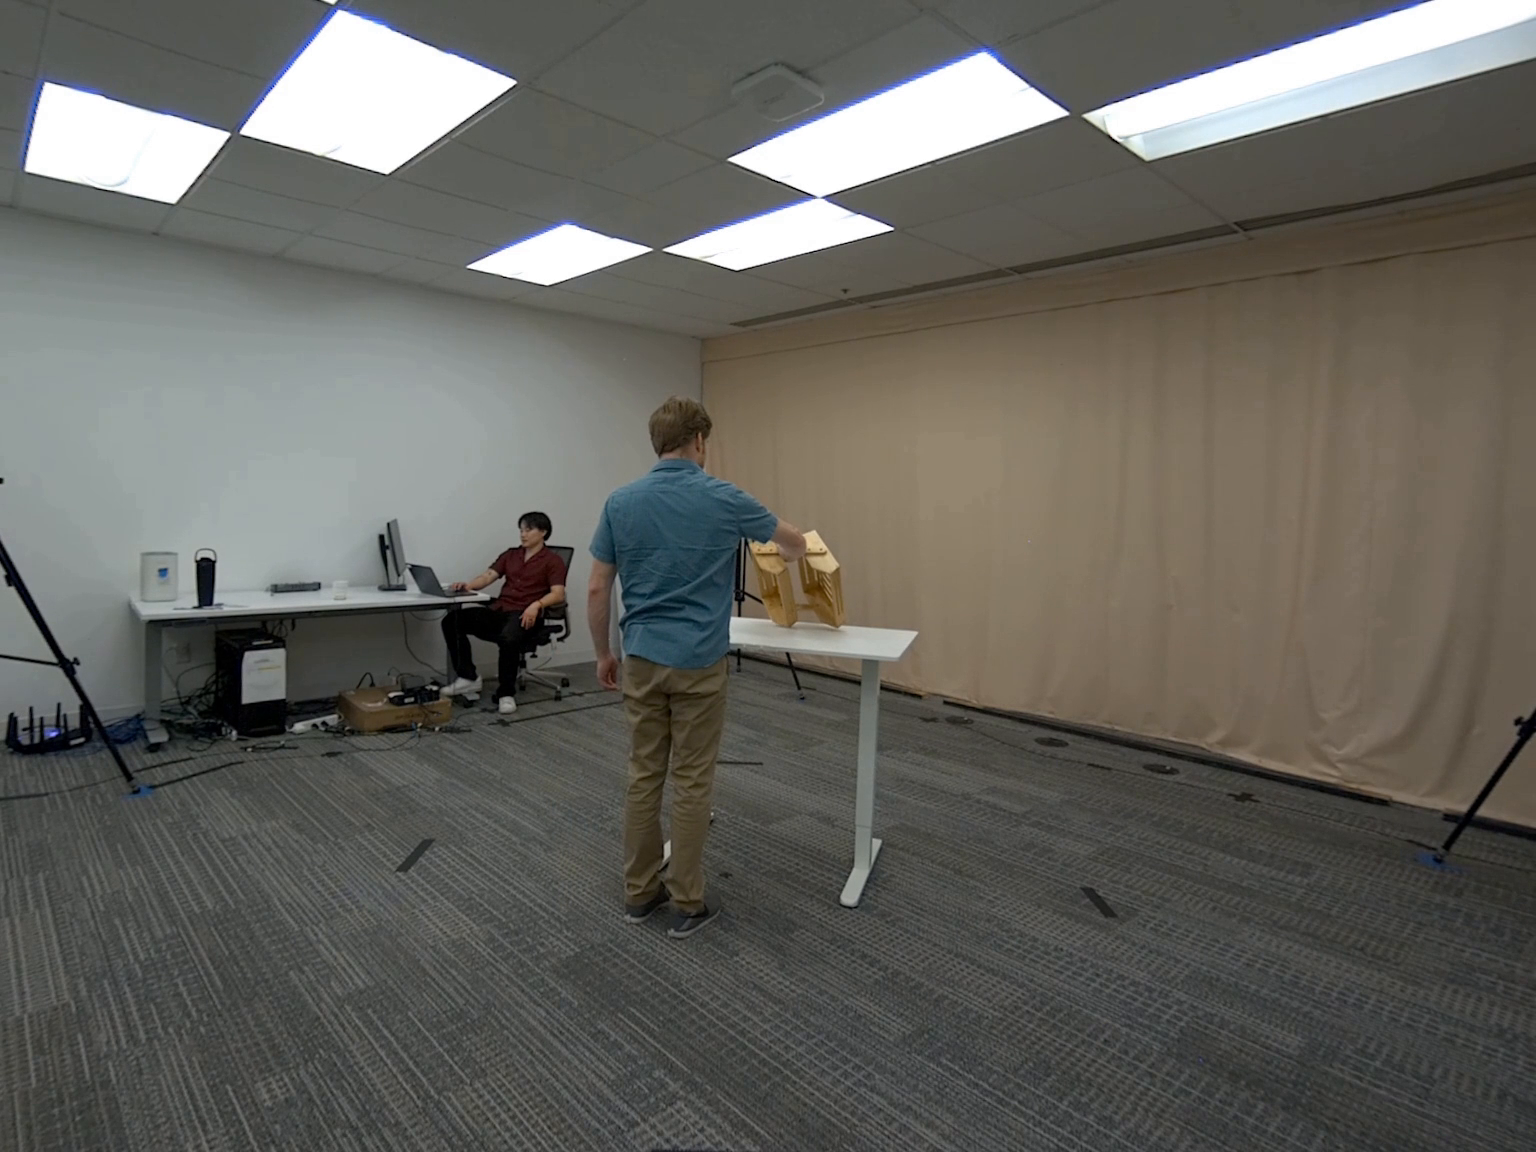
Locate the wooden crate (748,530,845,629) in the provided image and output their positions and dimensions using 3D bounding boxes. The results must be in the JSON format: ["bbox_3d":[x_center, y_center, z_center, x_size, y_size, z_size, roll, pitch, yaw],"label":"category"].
[{"bbox_3d":[0.106,0.037,3.273,0.272,0.316,0.311,-20,43,-8],"label":"wooden crate"}]
